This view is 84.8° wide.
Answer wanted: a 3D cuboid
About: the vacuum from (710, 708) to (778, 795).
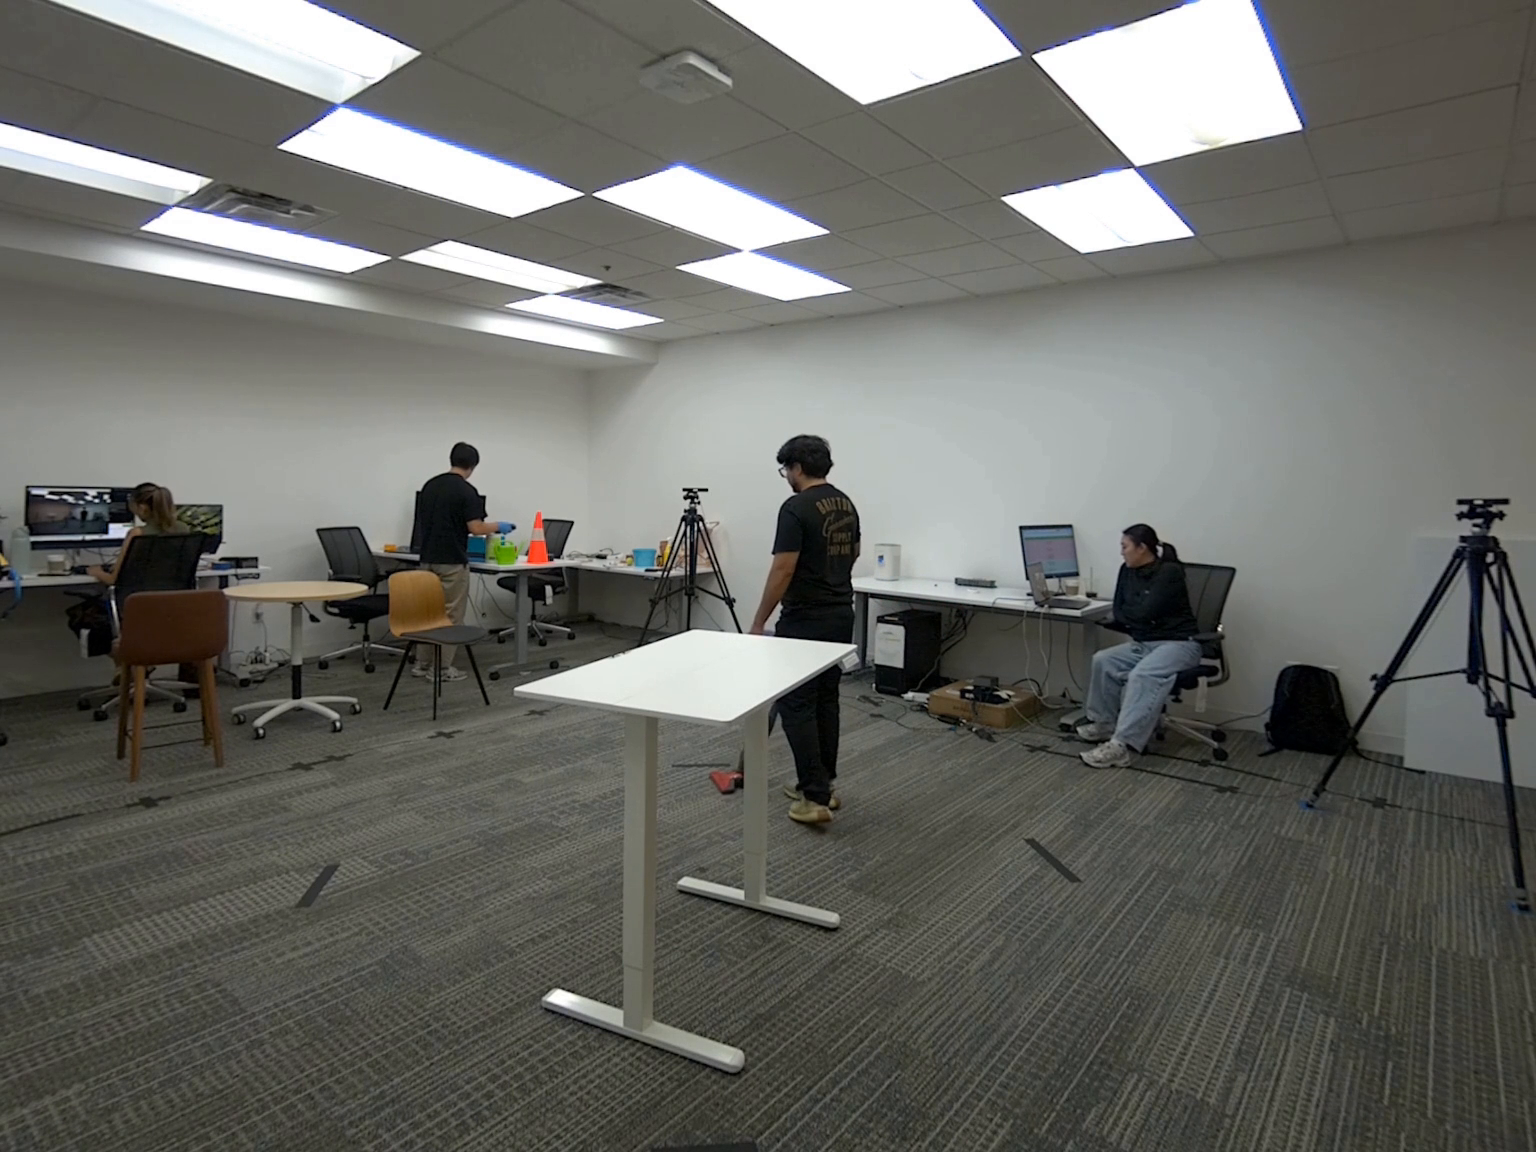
[{"bbox_3d":[0.046,0.509,4.062,0.140,1.051,0.259,31,-5,-23],"label":"vacuum"}]
